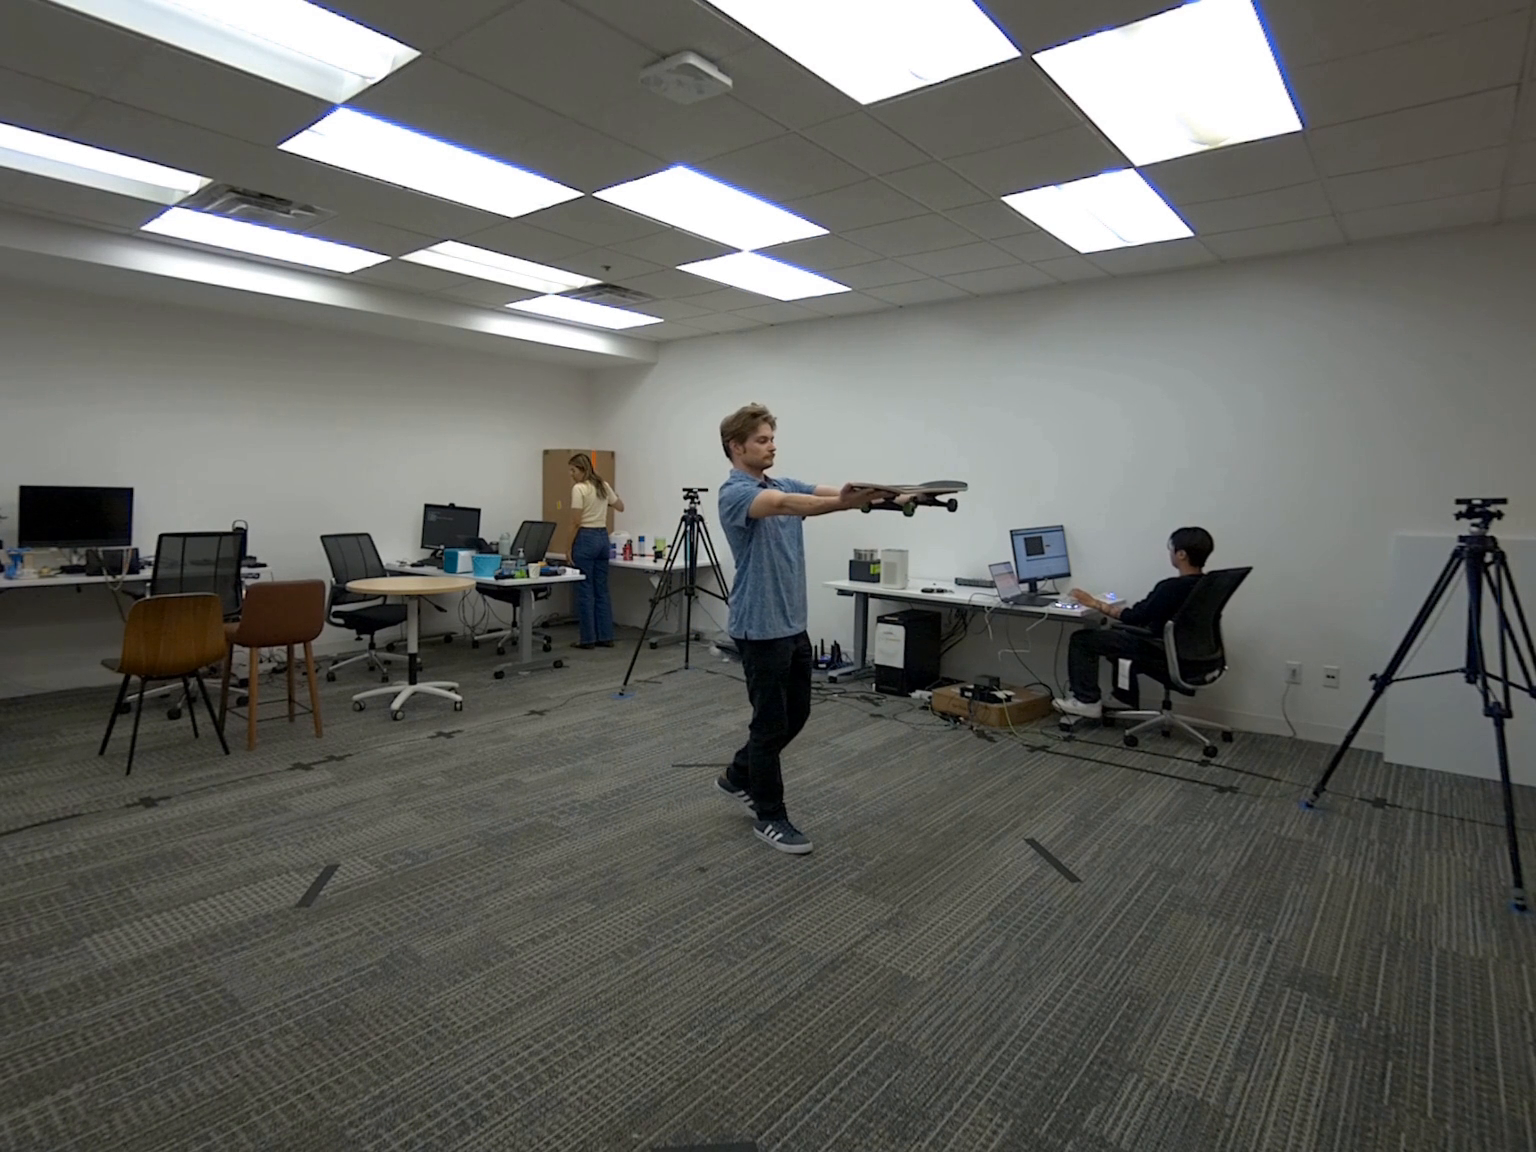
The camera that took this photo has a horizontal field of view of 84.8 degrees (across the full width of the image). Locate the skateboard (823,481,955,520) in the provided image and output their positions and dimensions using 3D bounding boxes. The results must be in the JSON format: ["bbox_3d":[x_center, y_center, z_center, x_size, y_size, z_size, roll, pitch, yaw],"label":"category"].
[{"bbox_3d":[0.452,-0.275,3.004,0.199,0.110,0.766,6,8,28],"label":"skateboard"}]
